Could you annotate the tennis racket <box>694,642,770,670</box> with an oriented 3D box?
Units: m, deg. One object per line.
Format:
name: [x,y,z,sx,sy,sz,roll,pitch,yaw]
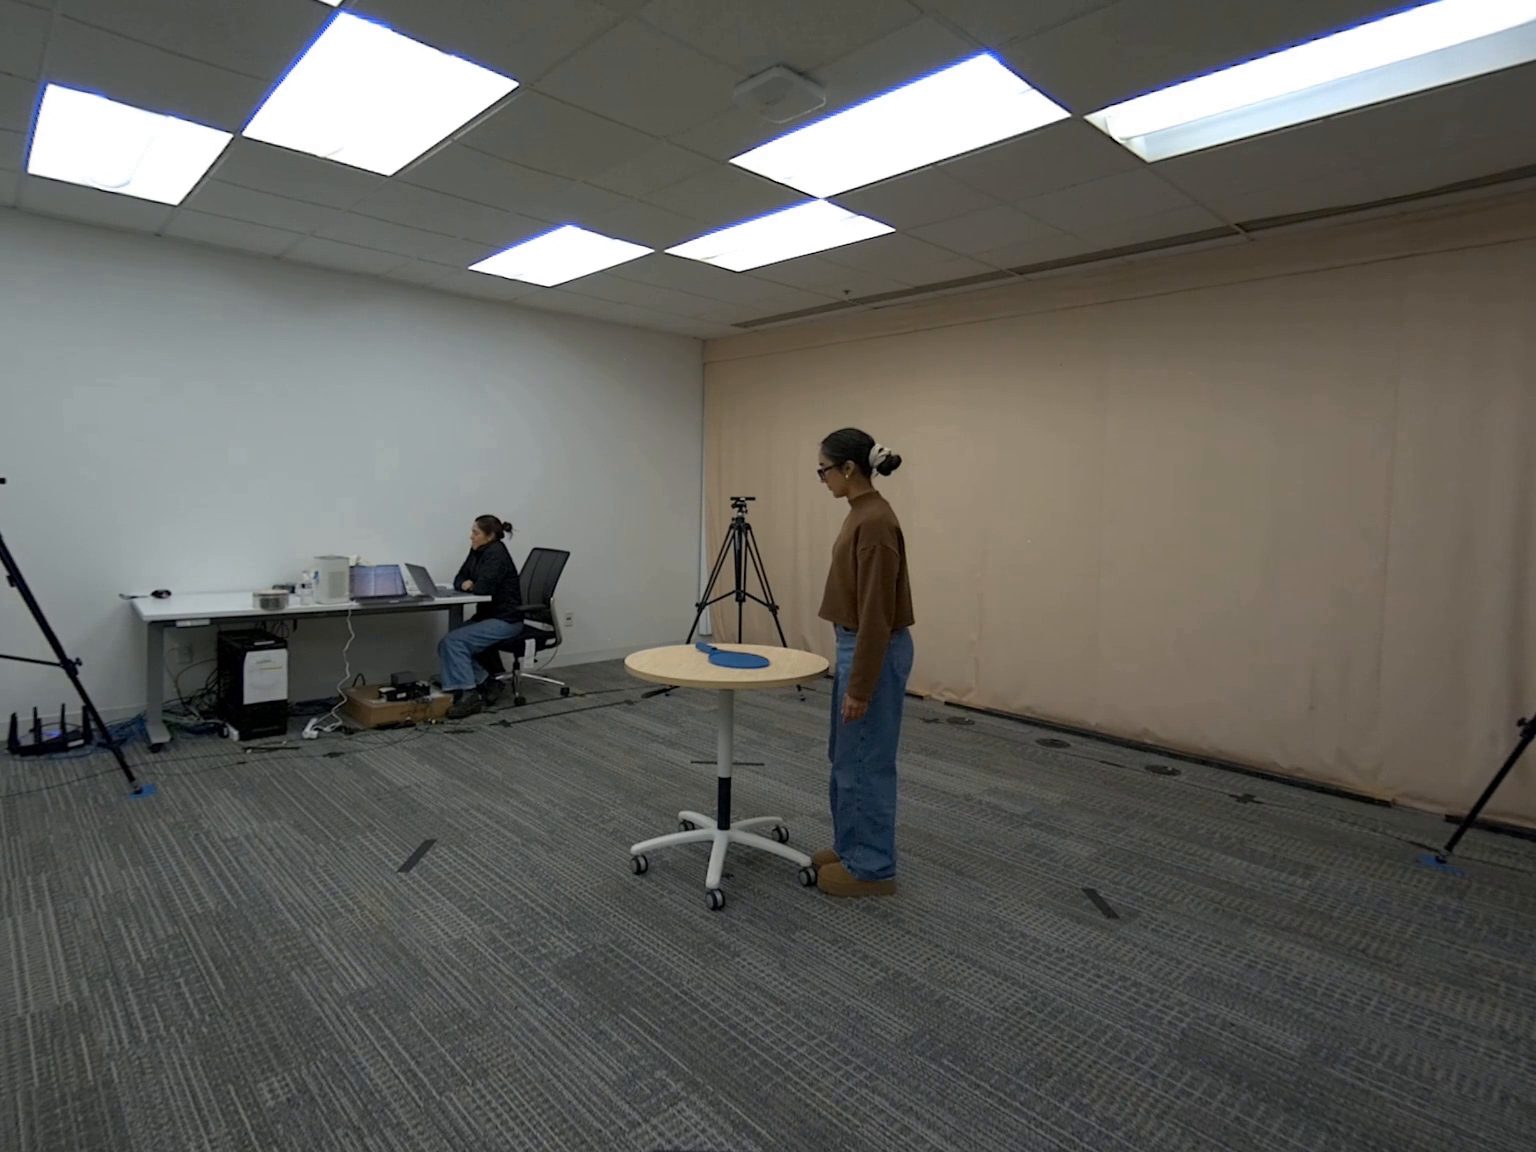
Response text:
tennis racket: [-0.161,0.306,3.201,0.209,0.031,0.444,-2,8,-33]
